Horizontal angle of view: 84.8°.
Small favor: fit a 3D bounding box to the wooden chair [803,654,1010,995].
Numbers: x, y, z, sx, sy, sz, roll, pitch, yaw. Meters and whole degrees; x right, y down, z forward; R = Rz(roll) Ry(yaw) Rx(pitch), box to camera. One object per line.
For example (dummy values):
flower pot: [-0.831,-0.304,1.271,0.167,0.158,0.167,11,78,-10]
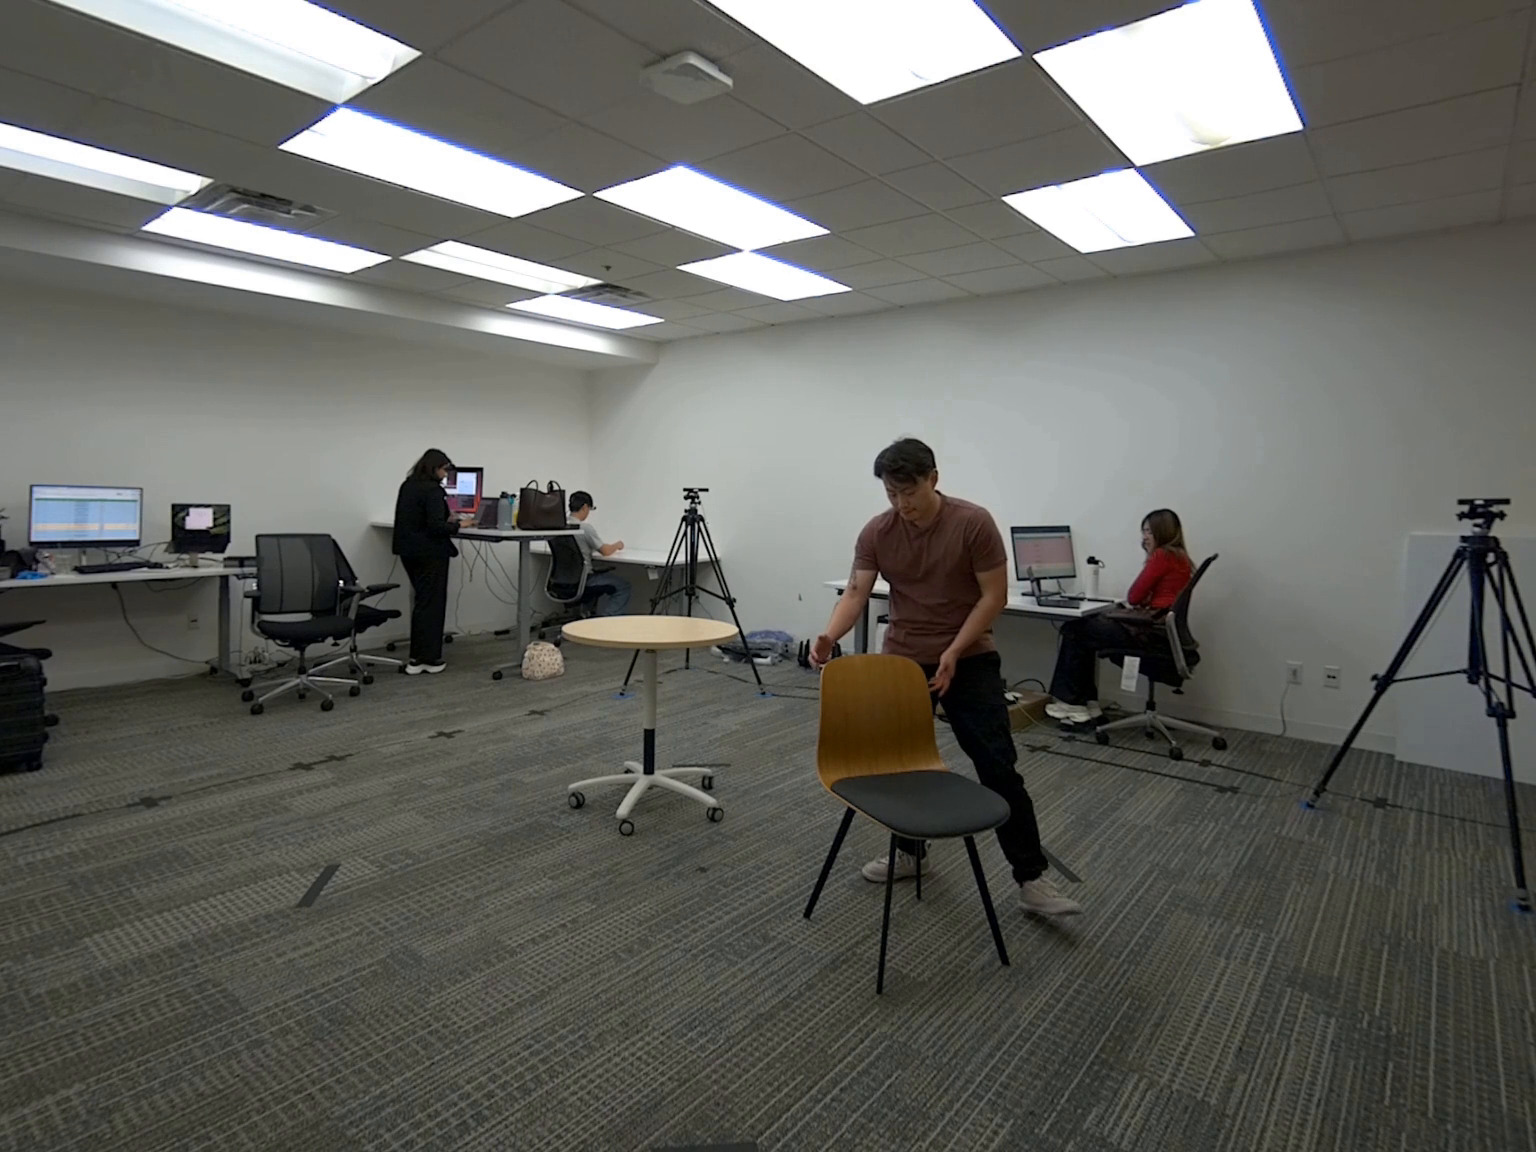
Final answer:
wooden chair: [0.420,0.706,2.605,0.467,0.878,0.535,0,0,-24]
